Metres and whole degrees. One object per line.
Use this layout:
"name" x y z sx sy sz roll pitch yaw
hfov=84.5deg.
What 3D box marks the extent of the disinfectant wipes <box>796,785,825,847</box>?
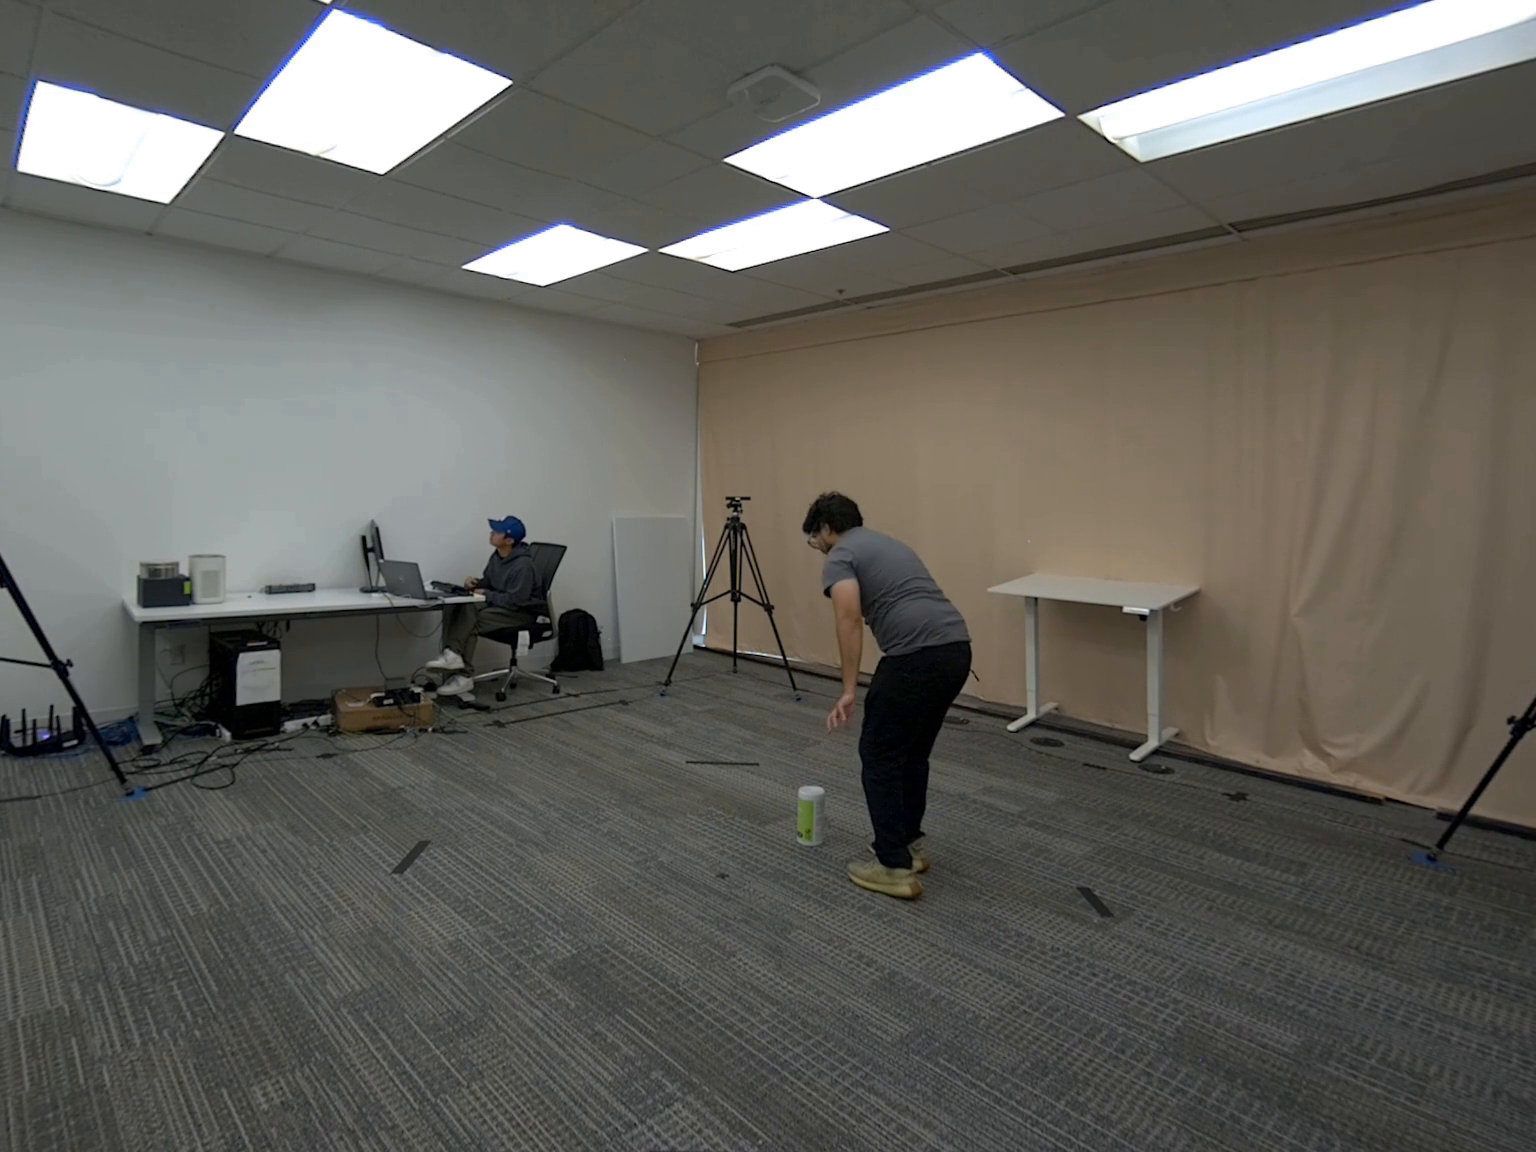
"disinfectant wipes" 0.165 0.979 3.440 0.118 0.216 0.118 -3 7 -1
